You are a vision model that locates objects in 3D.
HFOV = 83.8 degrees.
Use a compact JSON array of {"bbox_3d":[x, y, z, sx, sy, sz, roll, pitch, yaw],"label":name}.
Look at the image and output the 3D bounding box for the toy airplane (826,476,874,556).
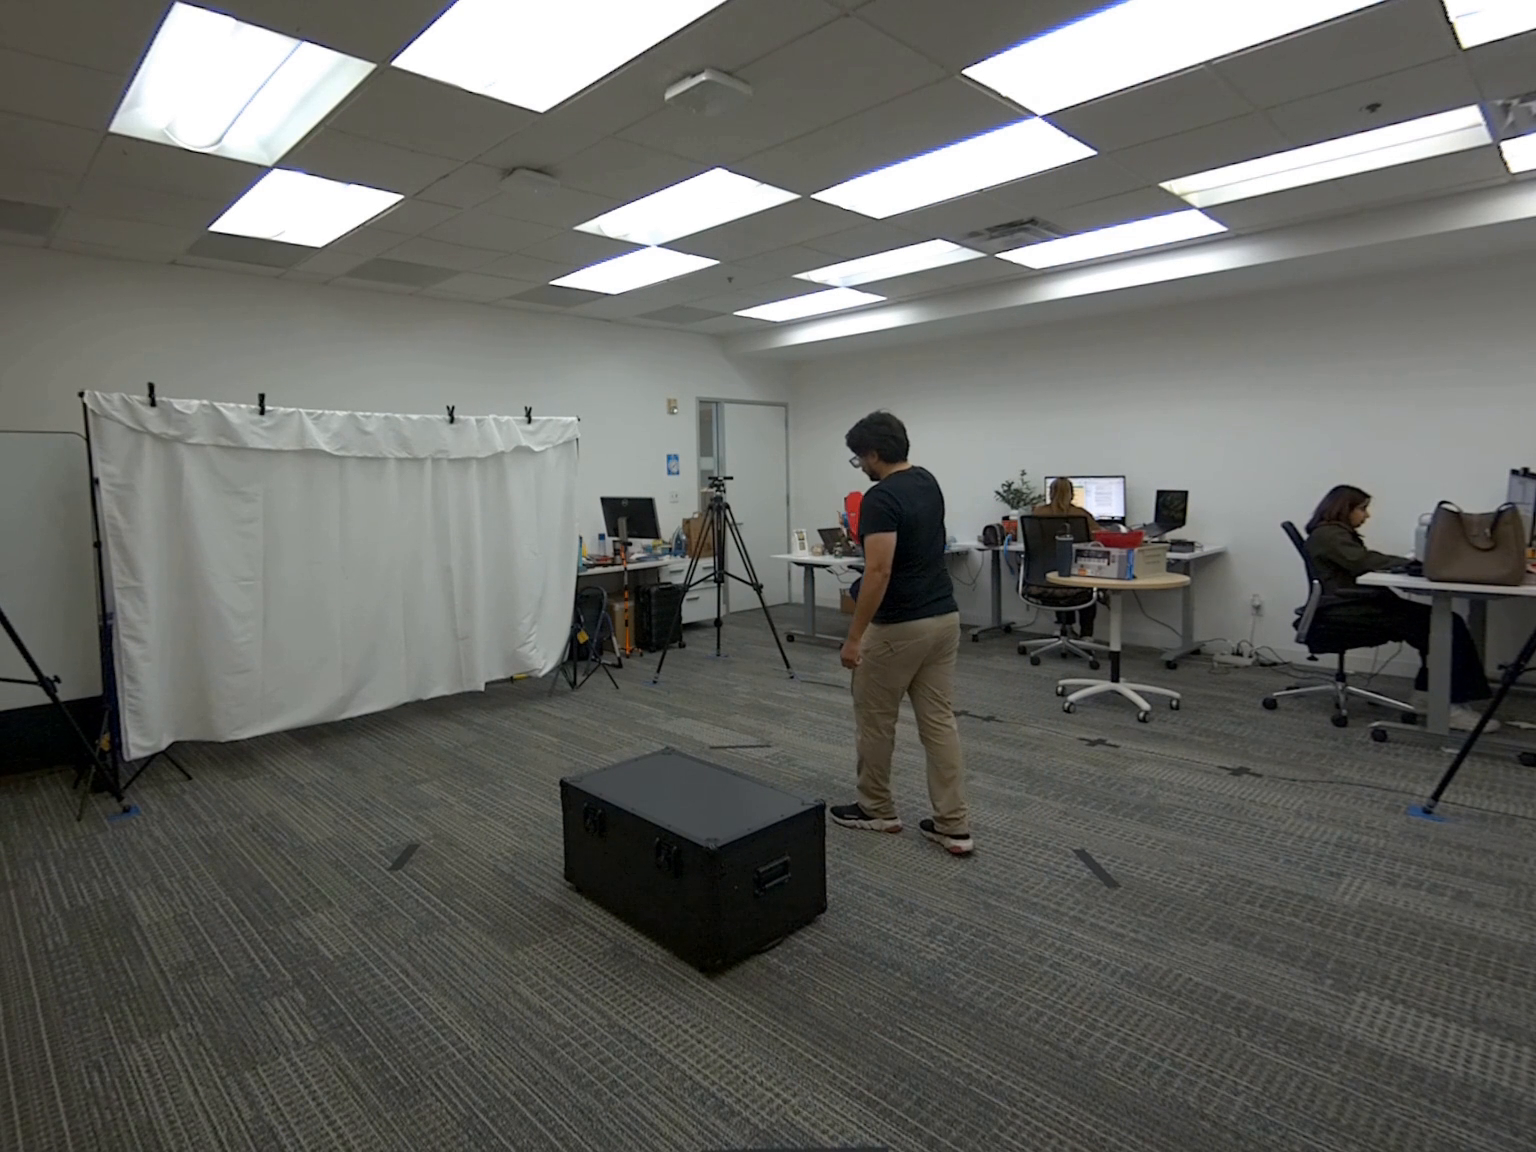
[{"bbox_3d":[0.462,-0.283,3.976,0.261,0.259,0.150,53,1,40],"label":"toy airplane"}]
